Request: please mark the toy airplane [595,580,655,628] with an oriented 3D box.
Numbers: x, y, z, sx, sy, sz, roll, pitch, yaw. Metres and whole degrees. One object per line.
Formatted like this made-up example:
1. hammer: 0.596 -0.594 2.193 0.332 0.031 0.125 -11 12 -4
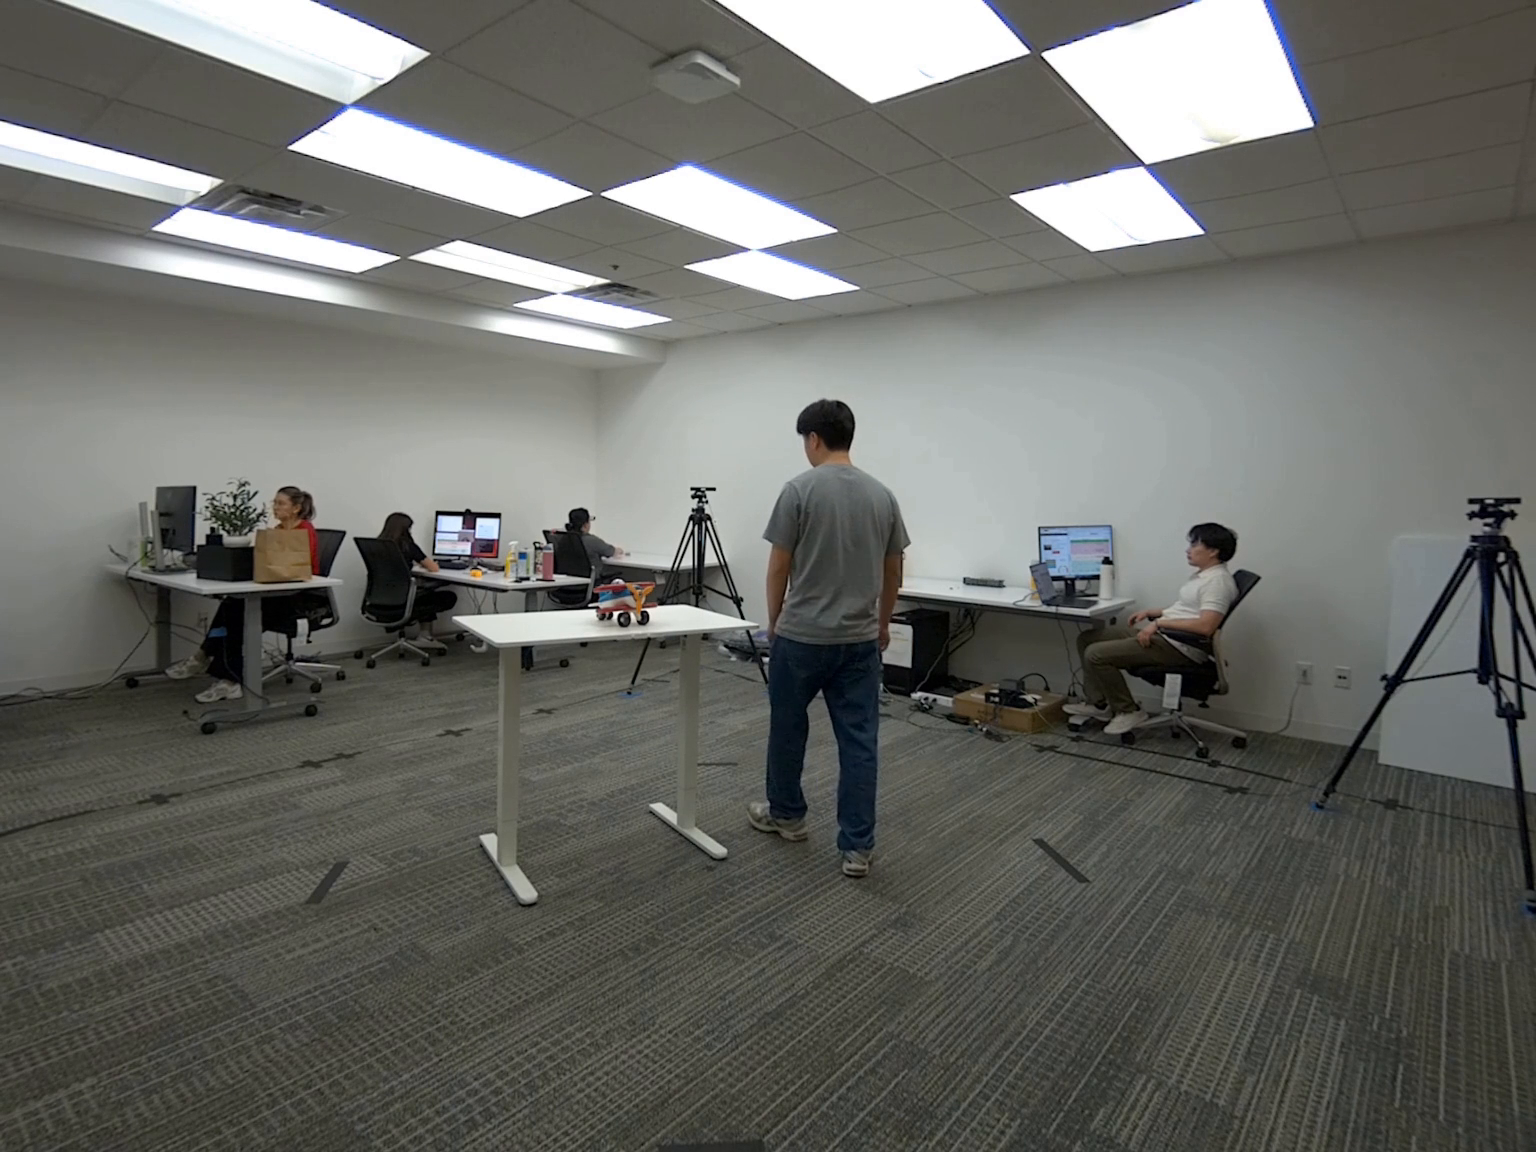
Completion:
1. toy airplane: -0.573 0.095 3.158 0.264 0.156 0.247 4 4 17
